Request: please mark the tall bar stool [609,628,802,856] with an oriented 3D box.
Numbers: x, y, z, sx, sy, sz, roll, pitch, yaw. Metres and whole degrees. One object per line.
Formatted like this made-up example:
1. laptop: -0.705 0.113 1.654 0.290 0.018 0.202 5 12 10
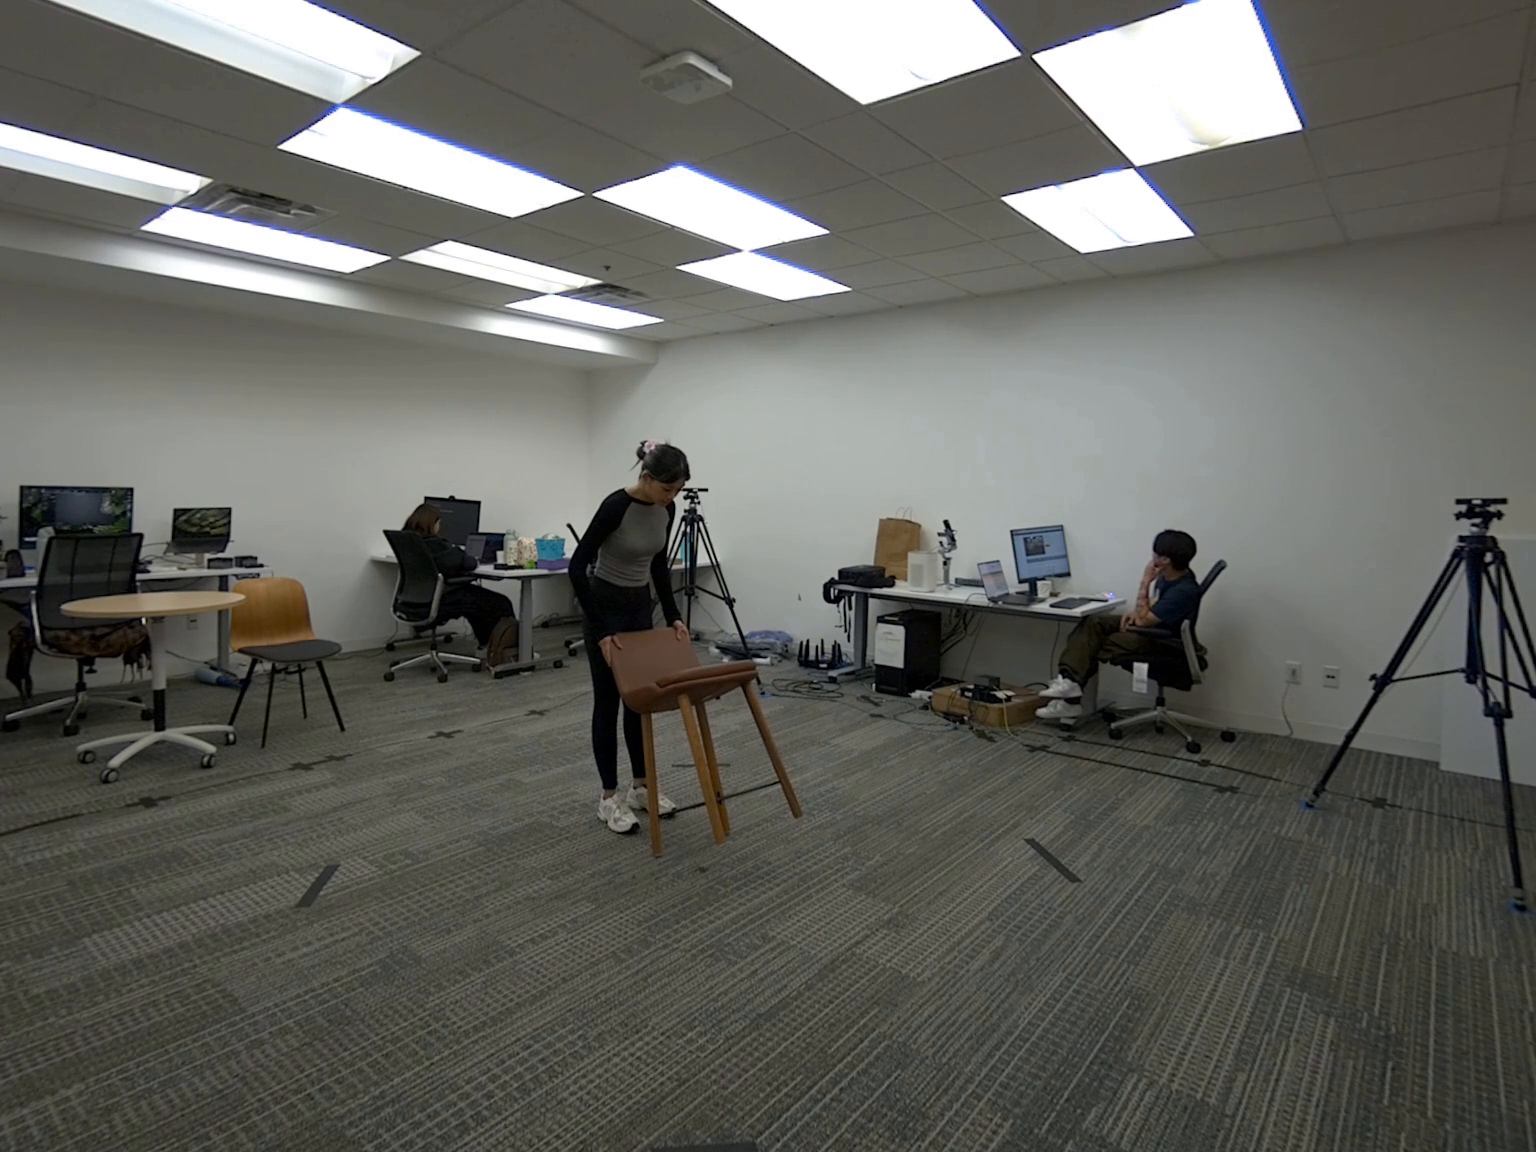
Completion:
1. tall bar stool: -0.289 0.566 3.302 0.443 0.908 0.472 -2 -22 -41
